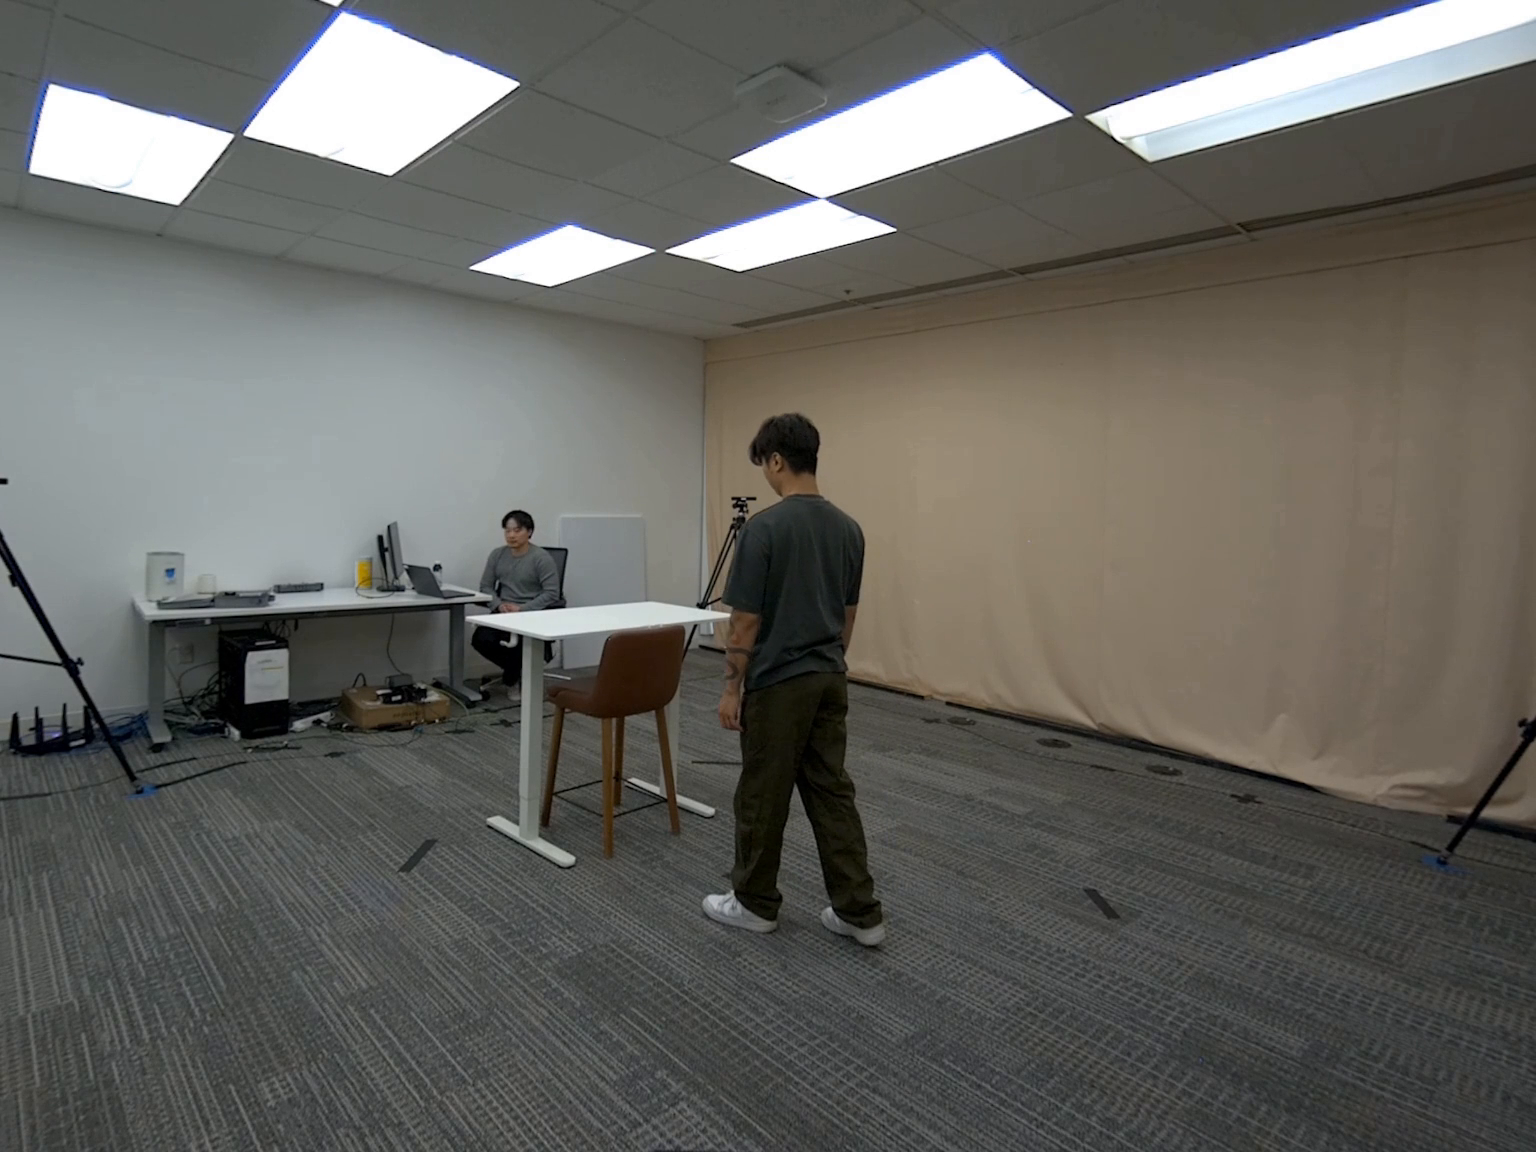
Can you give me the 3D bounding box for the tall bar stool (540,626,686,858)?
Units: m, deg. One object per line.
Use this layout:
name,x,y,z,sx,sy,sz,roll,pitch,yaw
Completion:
tall bar stool,-0.642,0.628,3.486,0.480,0.887,0.446,7,6,43
